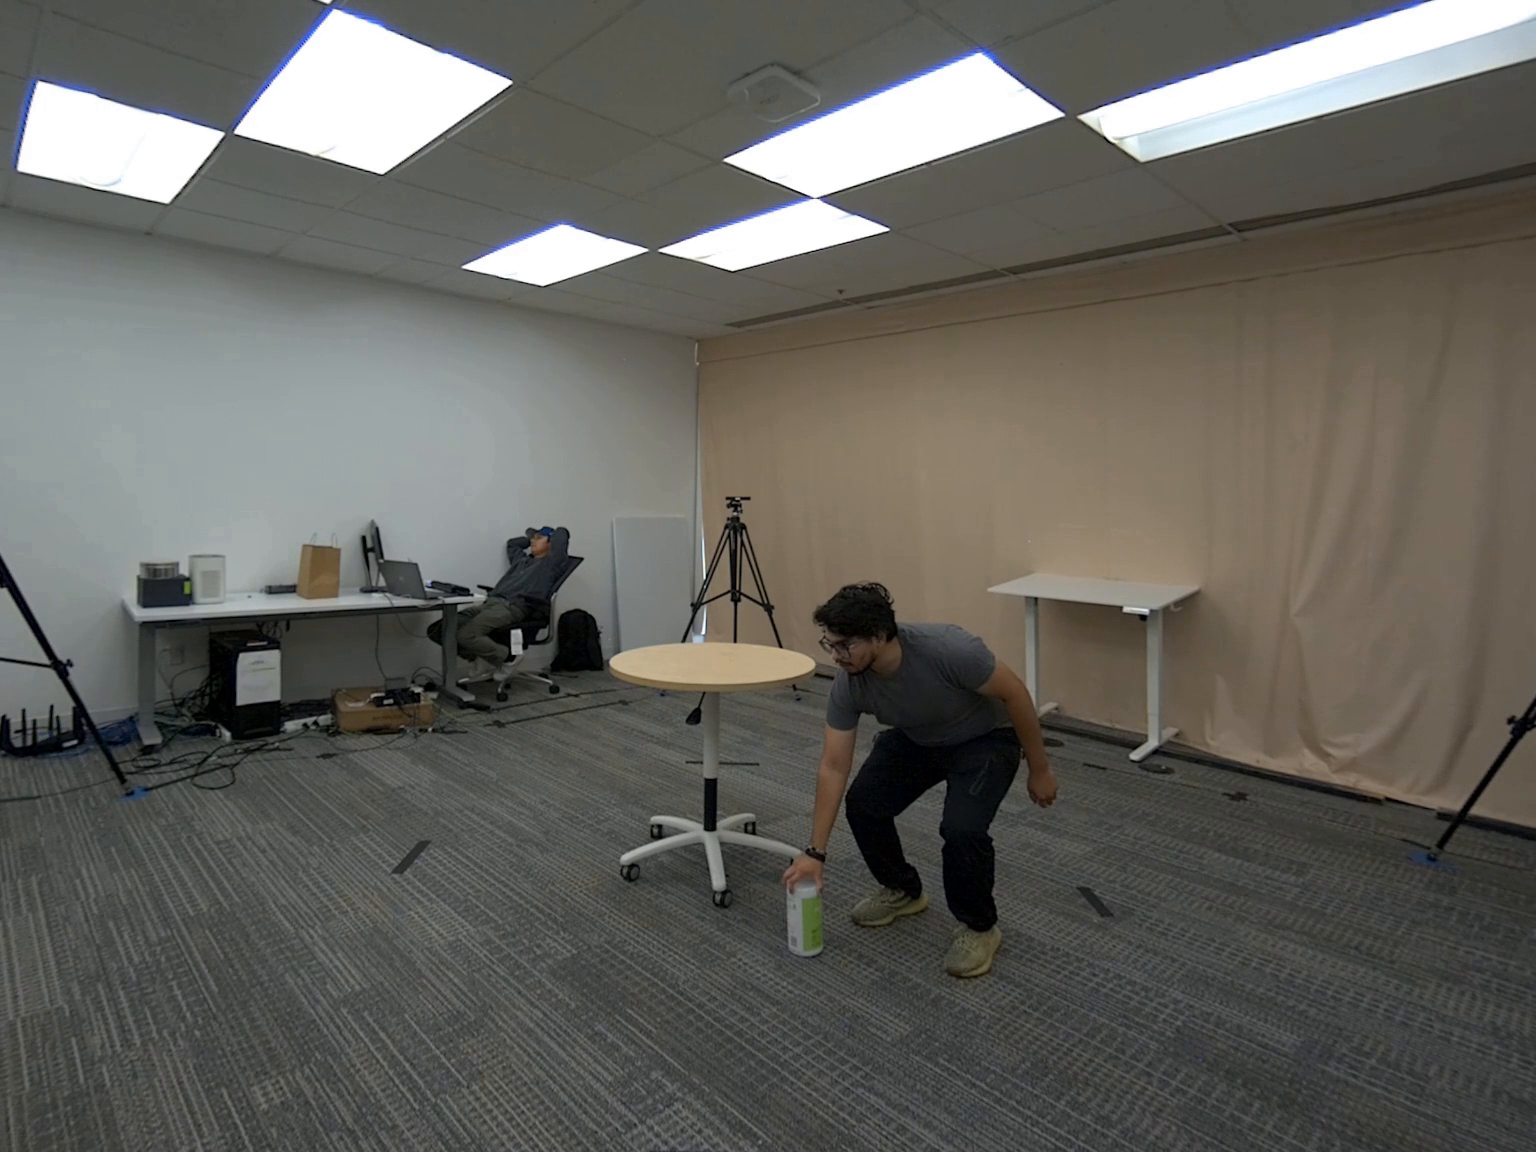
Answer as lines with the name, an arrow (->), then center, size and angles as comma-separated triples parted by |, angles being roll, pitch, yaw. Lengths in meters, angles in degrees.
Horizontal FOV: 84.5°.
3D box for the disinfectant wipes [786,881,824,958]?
disinfectant wipes -> 0.112, 1.048, 2.601 | 0.118, 0.217, 0.118 | -3, 4, -1
